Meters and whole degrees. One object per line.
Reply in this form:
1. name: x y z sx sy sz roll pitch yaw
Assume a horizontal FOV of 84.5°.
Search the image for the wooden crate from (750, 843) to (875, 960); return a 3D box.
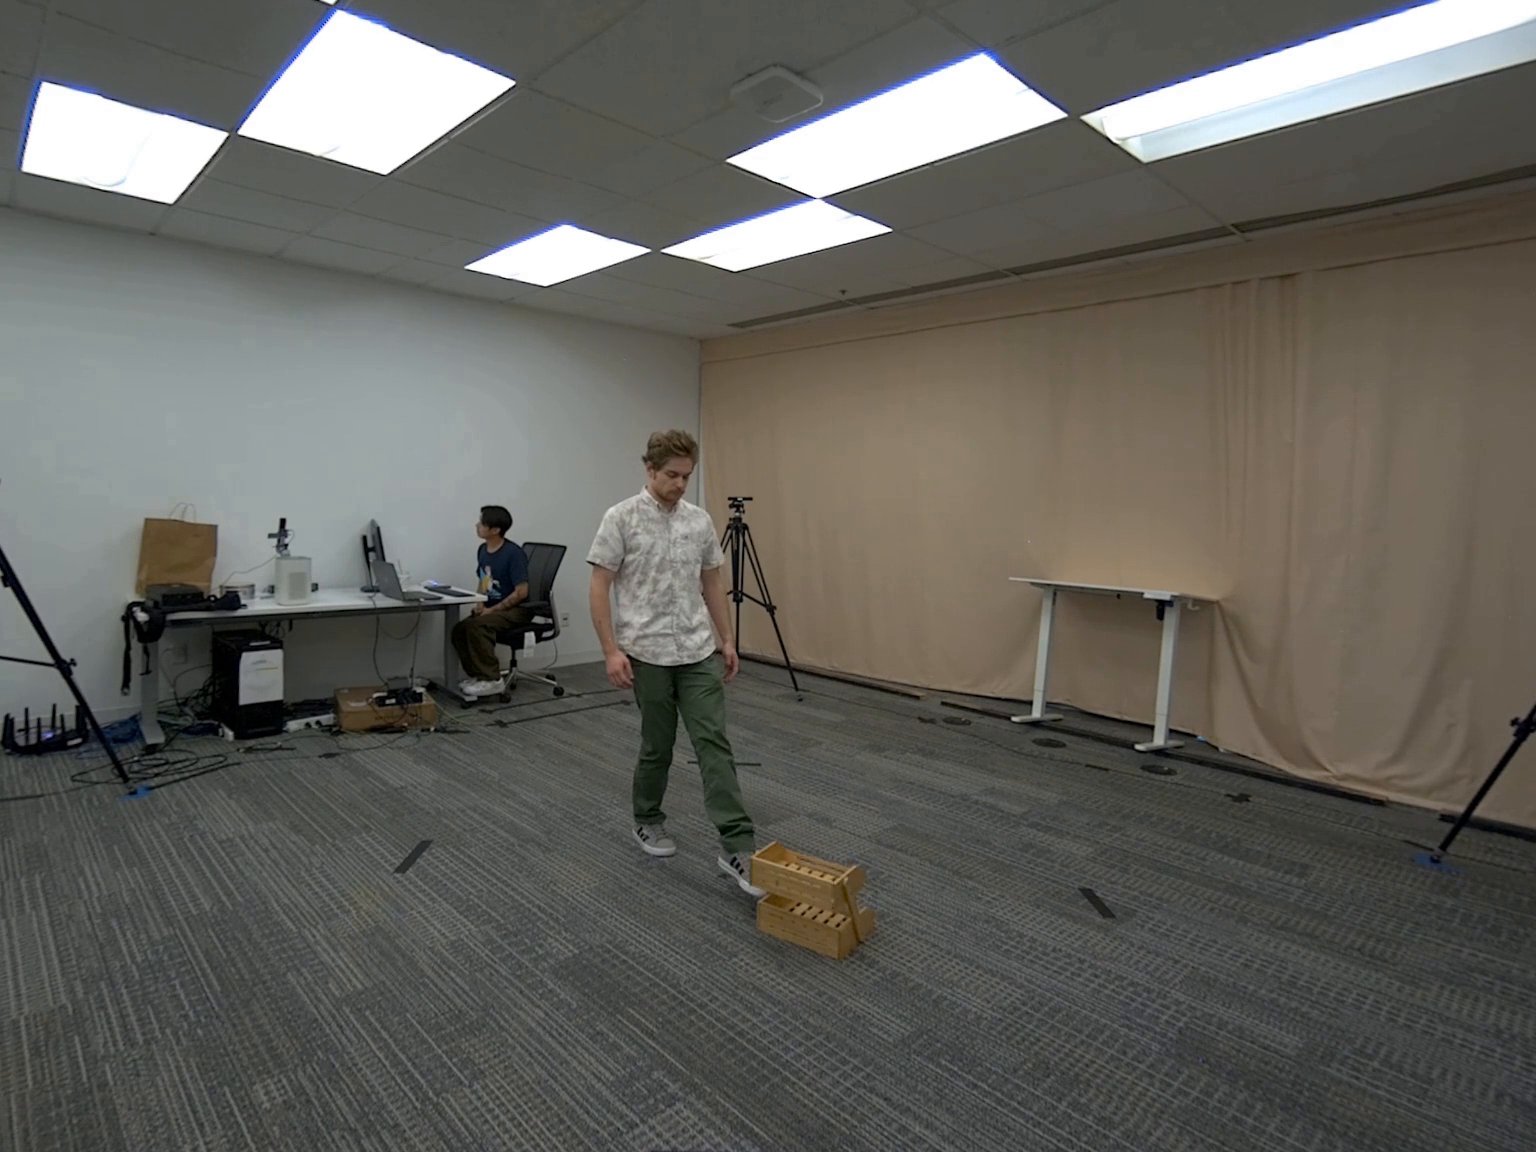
1. wooden crate: 0.147 1.017 2.709 0.332 0.272 0.296 4 6 34
